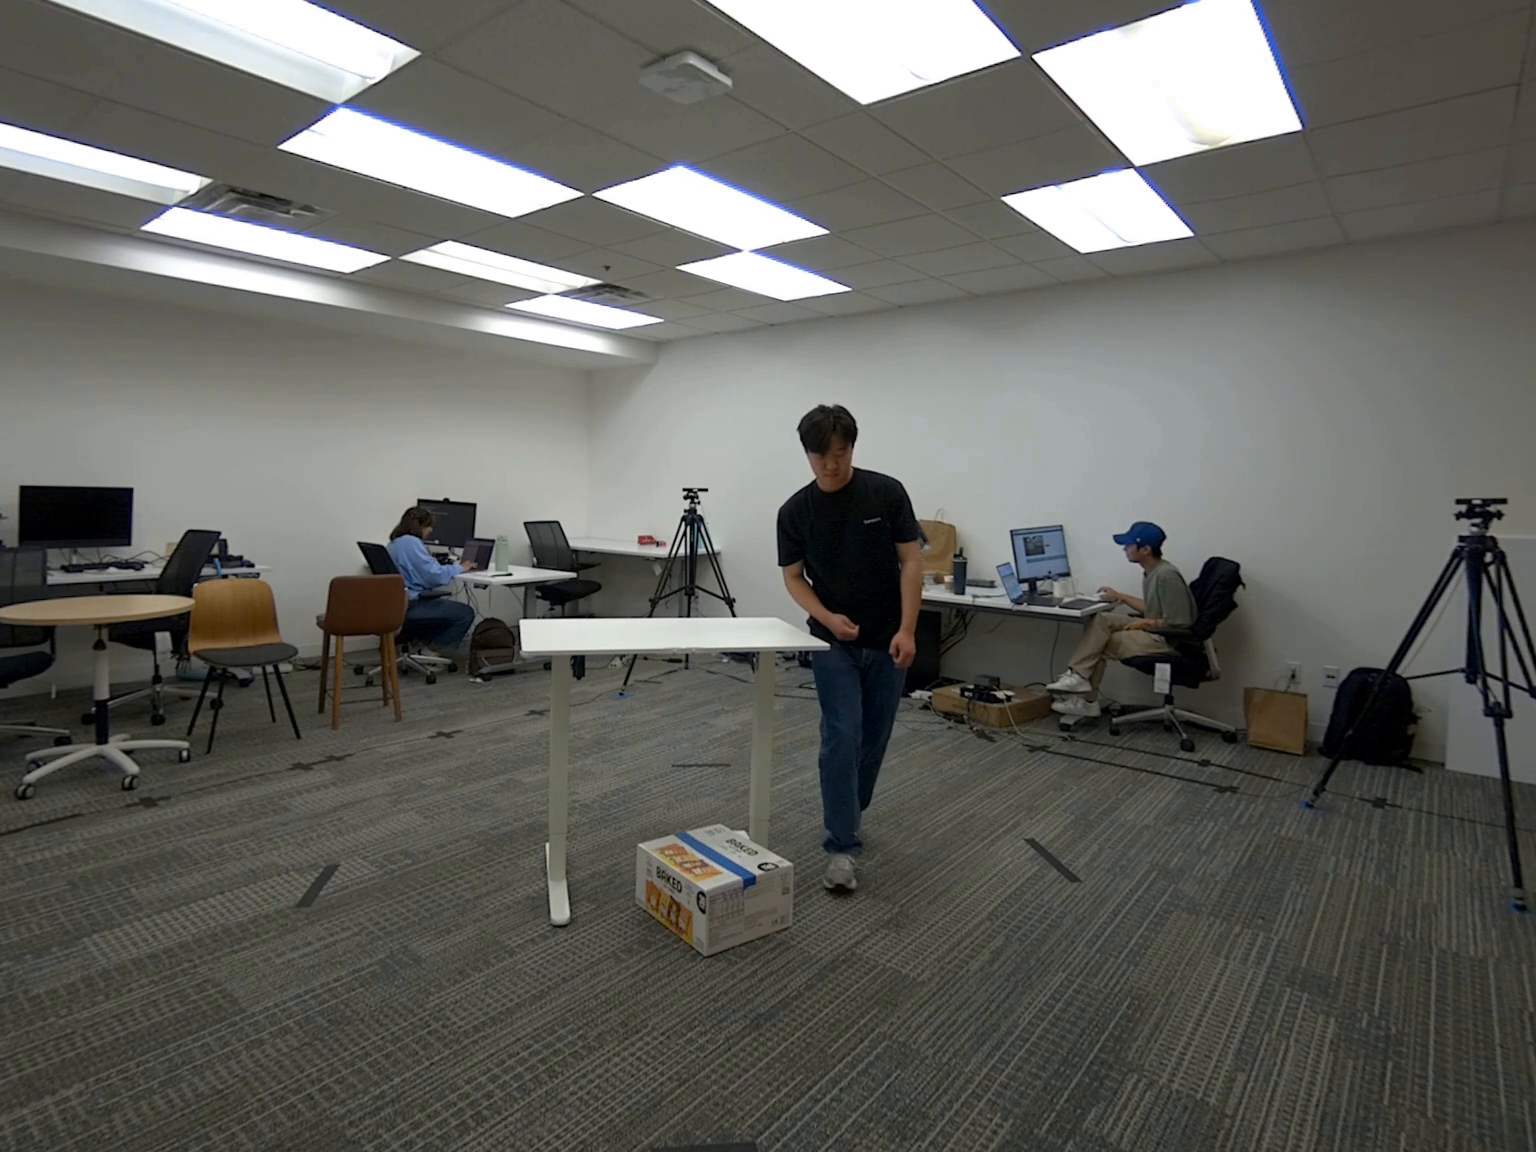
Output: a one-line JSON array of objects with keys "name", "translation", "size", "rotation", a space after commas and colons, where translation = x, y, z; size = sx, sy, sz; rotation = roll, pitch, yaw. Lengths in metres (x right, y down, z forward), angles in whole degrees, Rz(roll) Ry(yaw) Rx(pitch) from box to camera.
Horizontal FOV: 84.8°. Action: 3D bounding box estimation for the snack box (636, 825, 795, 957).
[{"name": "snack box", "translation": [-0.186, 1.002, 2.762], "size": [0.330, 0.205, 0.419], "rotation": [-2, 6, -37]}]
